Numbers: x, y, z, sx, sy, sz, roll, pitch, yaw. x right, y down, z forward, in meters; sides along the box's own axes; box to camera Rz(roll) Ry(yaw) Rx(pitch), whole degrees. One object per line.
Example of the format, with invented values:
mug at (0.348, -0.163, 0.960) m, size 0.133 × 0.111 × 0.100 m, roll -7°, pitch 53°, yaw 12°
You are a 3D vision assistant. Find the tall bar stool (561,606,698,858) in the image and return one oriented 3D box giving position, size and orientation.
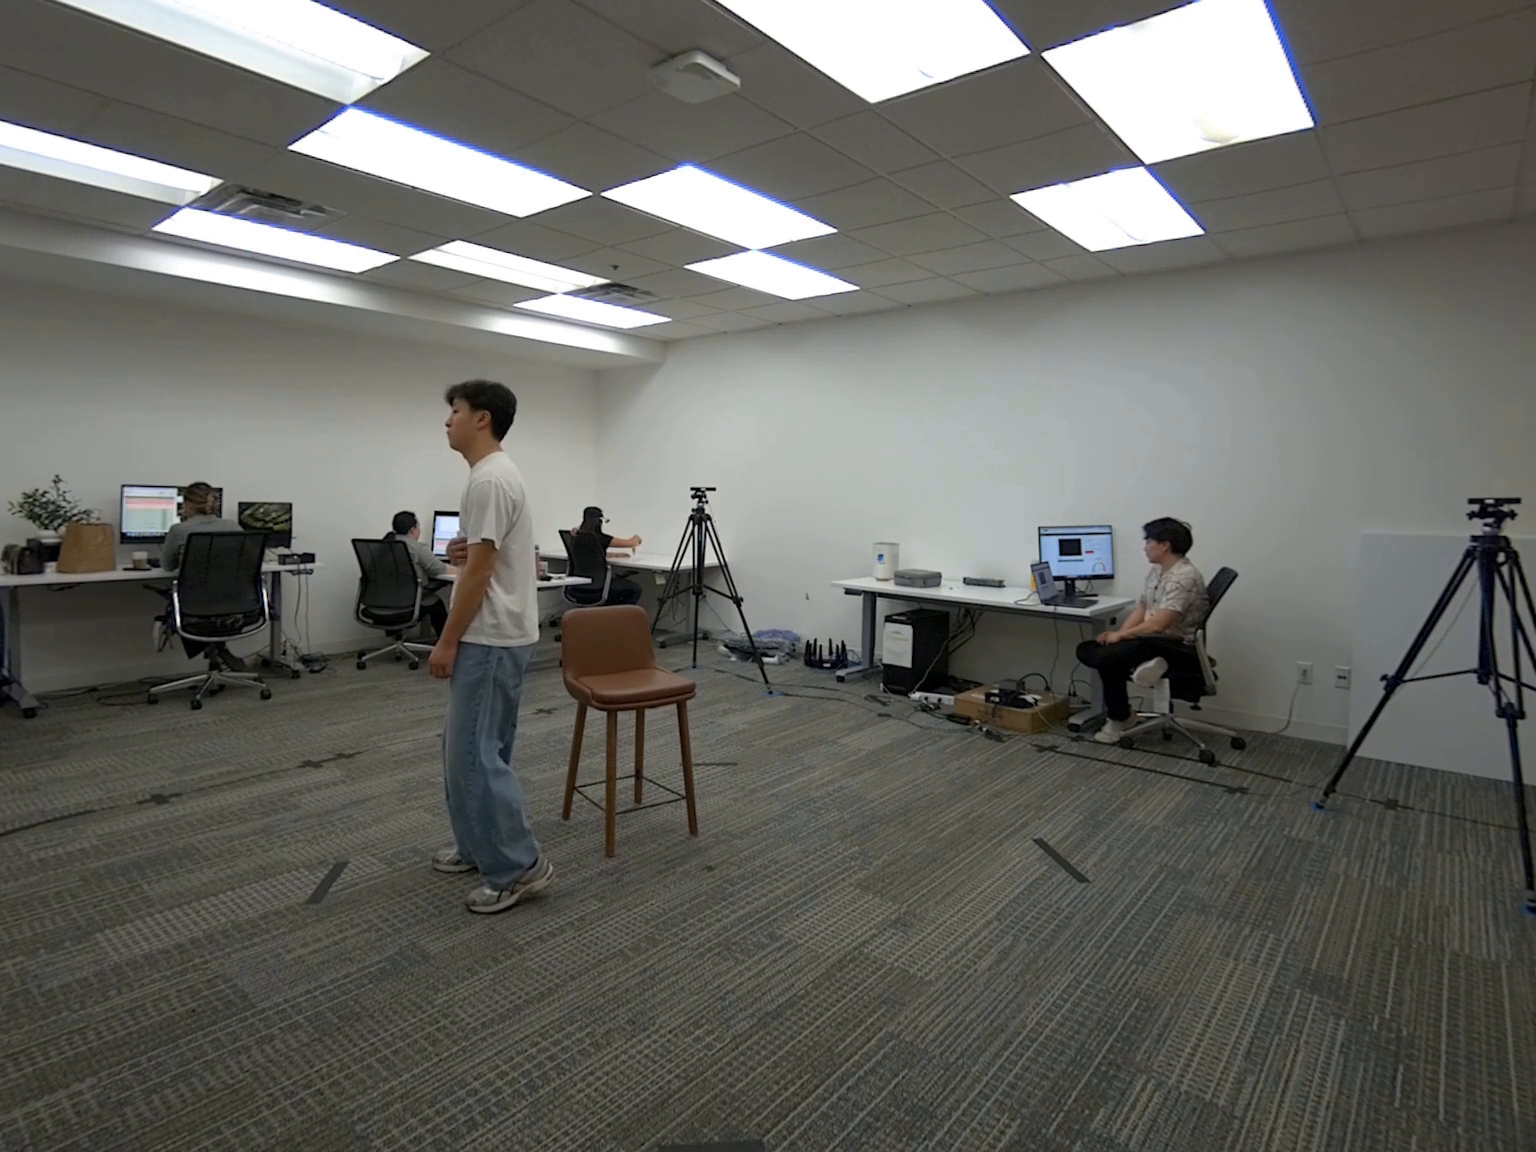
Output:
tall bar stool at (-0.586, 0.588, 3.463) m, size 0.443 × 0.889 × 0.482 m, roll -1°, pitch 2°, yaw -37°
